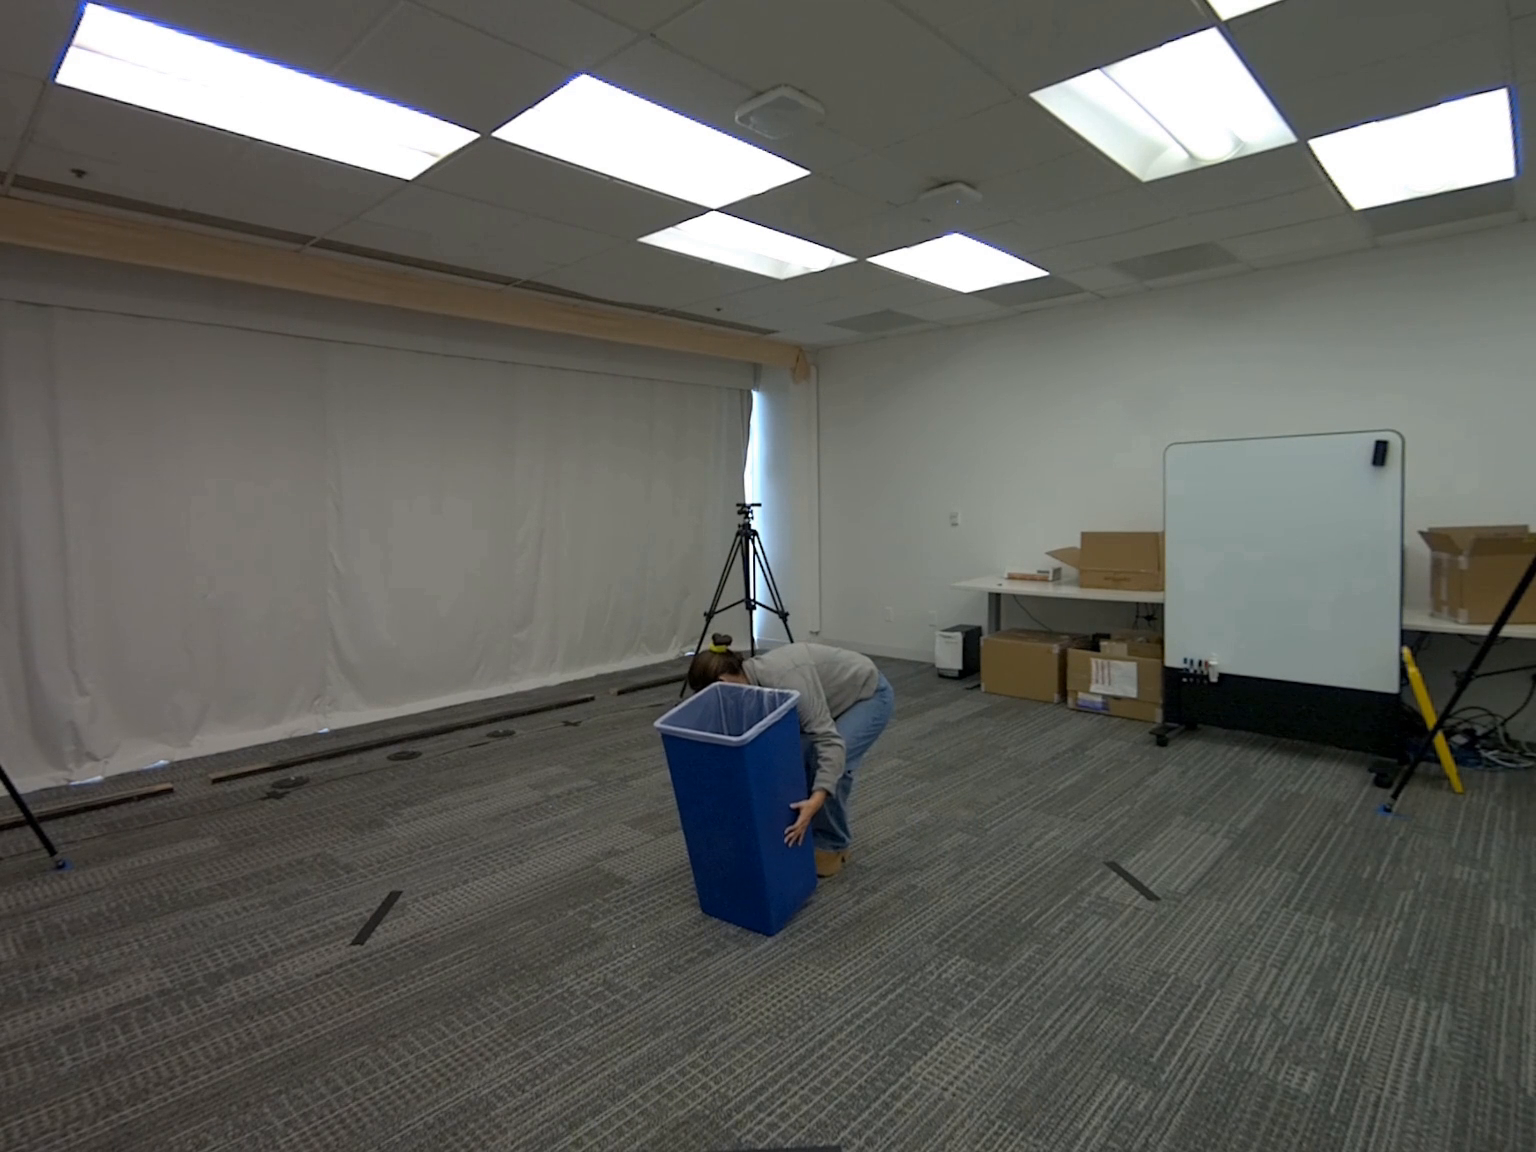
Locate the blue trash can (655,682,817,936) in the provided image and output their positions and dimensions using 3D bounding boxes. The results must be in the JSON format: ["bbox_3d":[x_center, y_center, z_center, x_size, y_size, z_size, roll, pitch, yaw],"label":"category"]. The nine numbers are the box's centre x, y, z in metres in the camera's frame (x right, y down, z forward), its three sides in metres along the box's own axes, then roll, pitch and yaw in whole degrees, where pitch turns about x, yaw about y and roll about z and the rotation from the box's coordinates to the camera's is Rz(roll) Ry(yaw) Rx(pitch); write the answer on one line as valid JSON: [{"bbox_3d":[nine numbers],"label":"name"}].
[{"bbox_3d":[-0.077,0.769,2.820,0.390,0.707,0.366,0,14,36],"label":"blue trash can"}]
